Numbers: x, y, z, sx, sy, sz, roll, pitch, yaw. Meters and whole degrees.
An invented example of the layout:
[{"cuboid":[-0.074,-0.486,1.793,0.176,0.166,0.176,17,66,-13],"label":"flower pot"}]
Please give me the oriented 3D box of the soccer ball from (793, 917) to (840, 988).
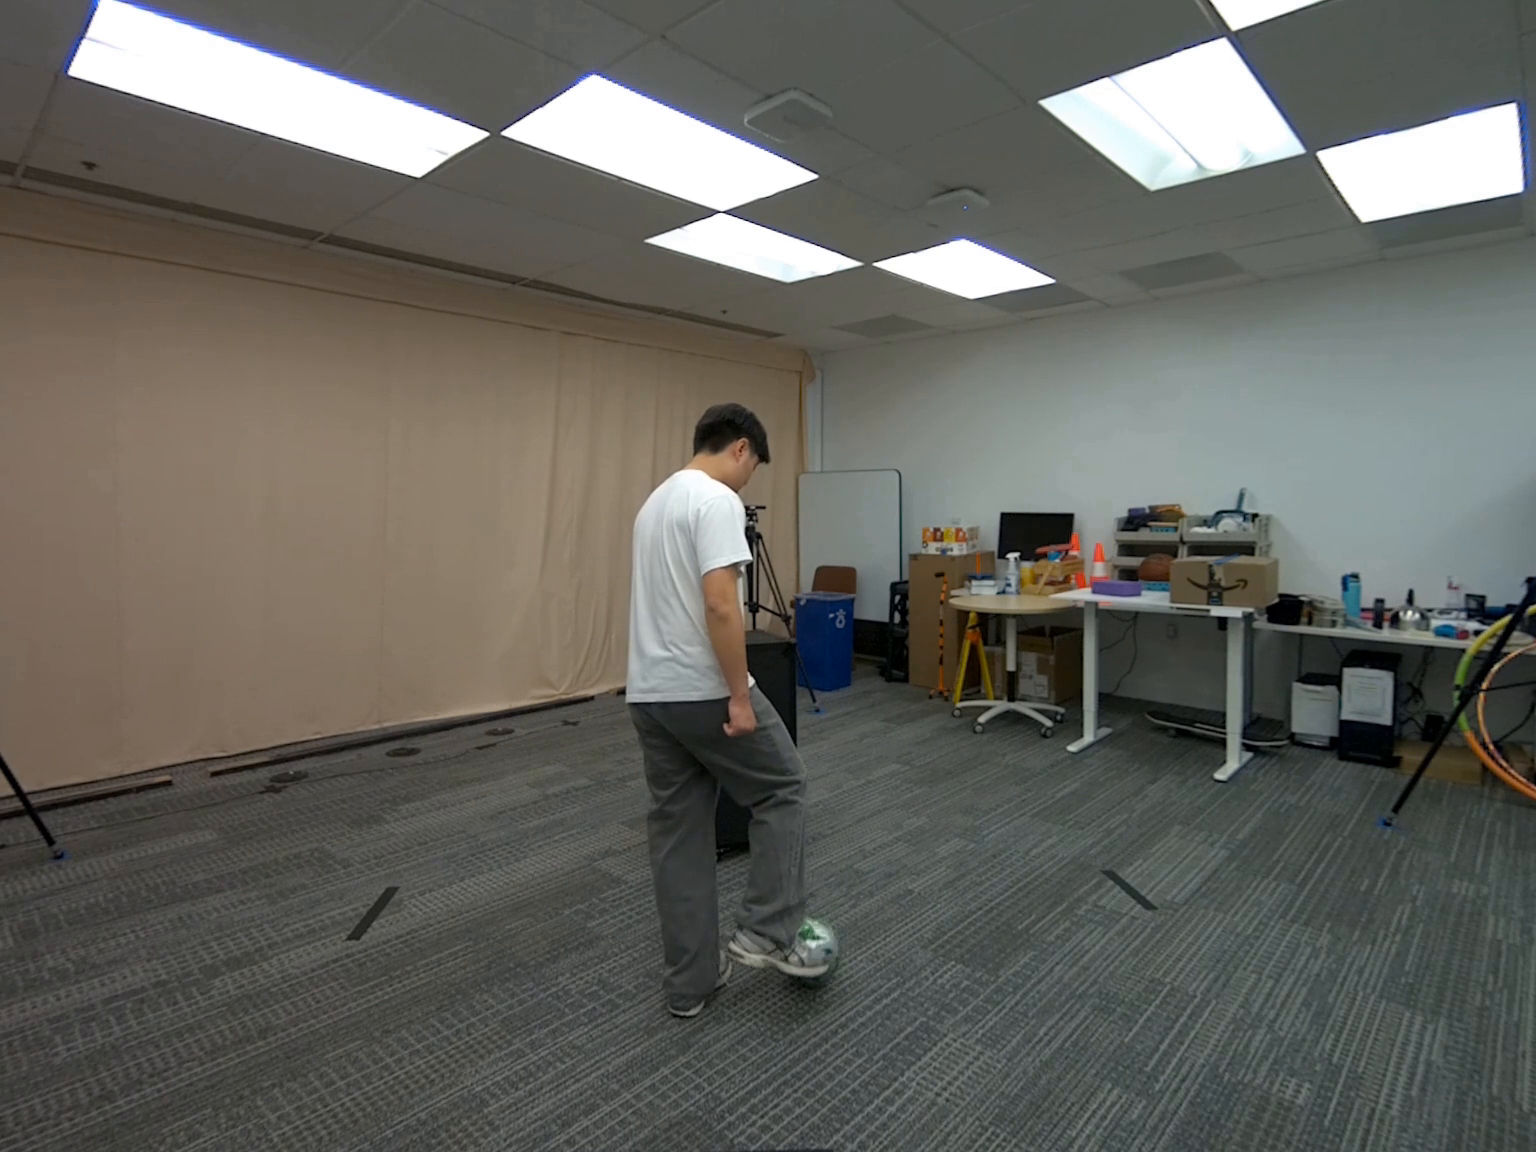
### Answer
[{"cuboid":[0.122,1.089,2.474,0.187,0.187,0.188,0,4,-2],"label":"soccer ball"}]
